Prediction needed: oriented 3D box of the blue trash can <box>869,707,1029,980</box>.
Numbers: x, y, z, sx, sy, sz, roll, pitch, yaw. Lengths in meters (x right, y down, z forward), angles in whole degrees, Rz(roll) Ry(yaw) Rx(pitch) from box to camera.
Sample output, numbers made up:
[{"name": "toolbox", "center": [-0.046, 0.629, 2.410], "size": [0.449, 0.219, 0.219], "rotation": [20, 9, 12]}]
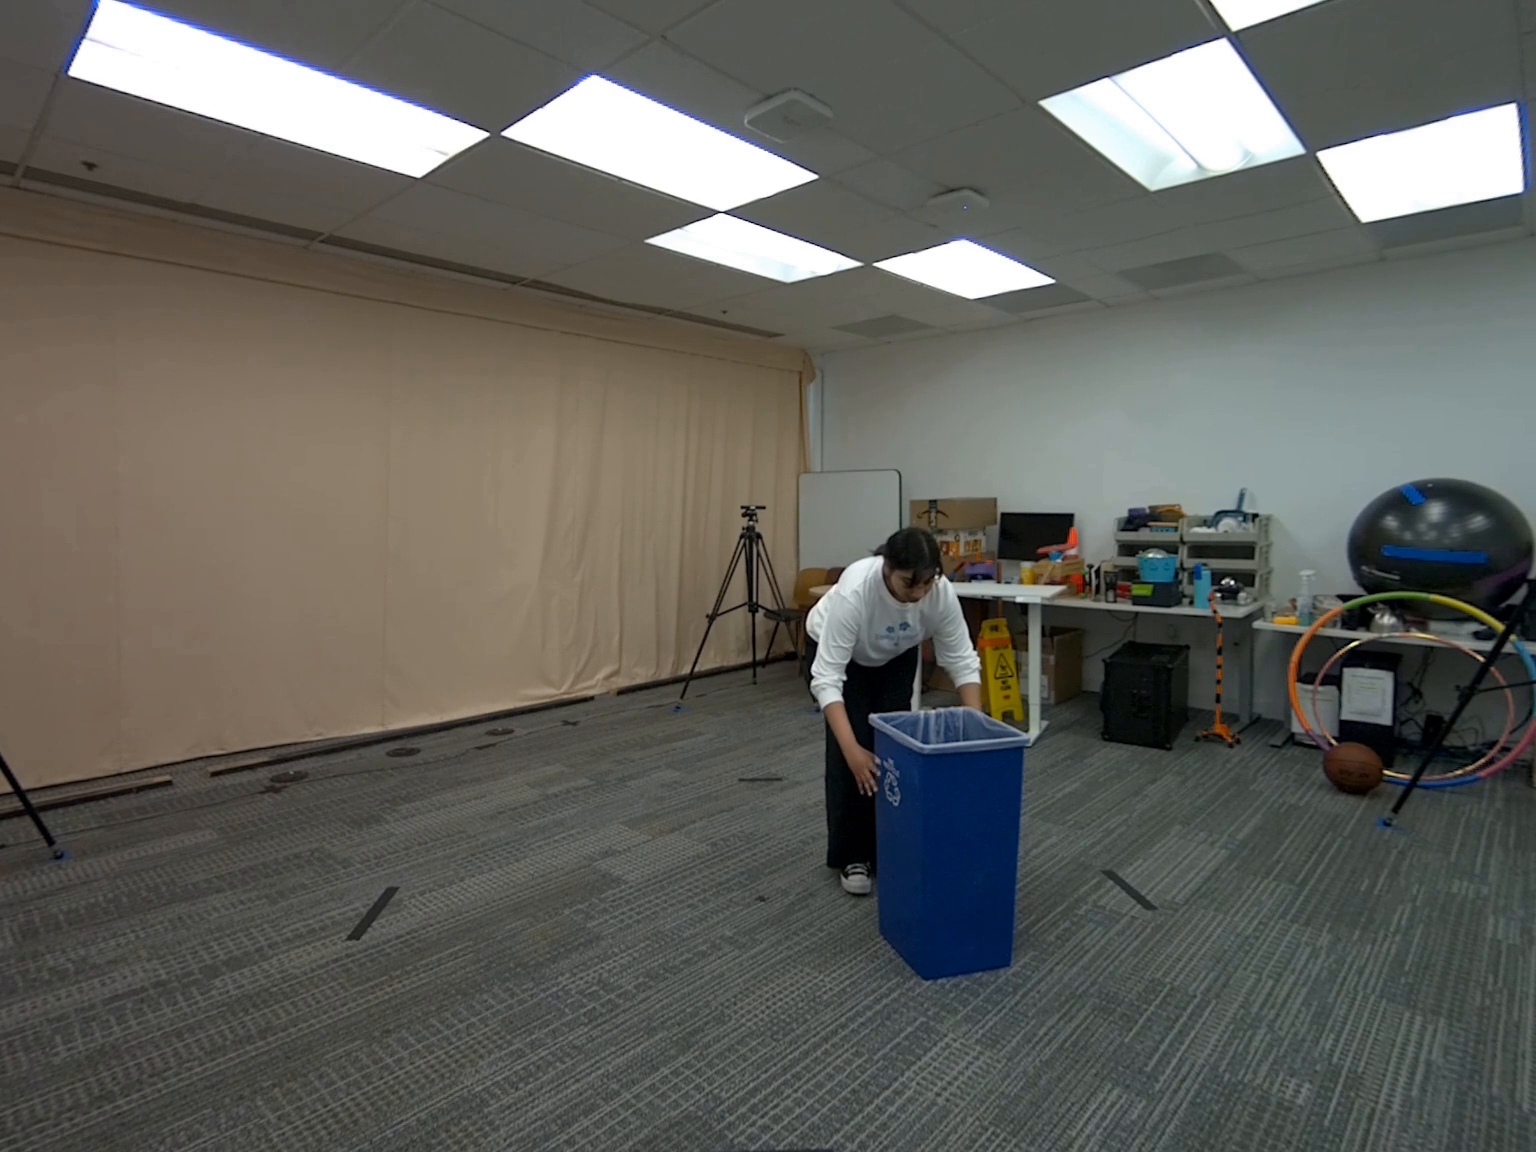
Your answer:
[{"name": "blue trash can", "center": [0.554, 0.812, 2.621], "size": [0.371, 0.712, 0.381], "rotation": [-1, 4, -17]}]
